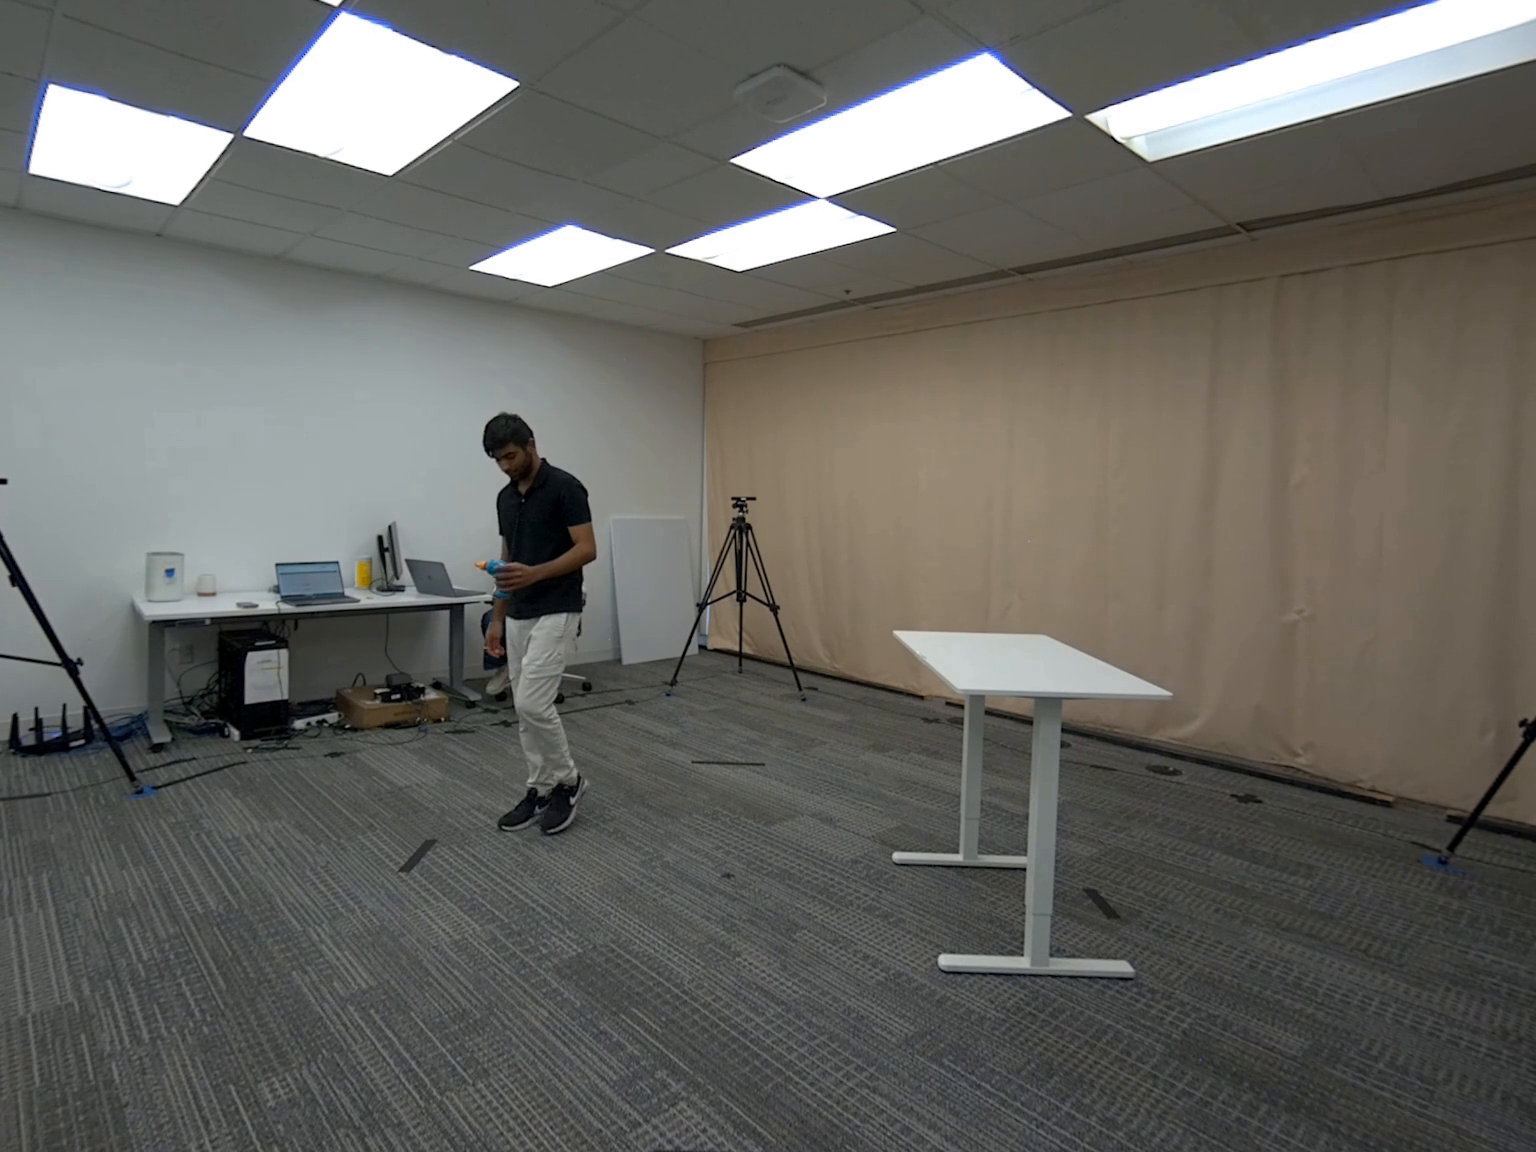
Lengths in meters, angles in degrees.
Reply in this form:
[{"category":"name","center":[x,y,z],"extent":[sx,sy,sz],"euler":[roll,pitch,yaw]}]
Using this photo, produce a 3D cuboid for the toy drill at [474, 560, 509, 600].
[{"category":"toy drill","center":[-1.065,0.005,3.244],"extent":[0.171,0.144,0.061],"euler":[8,22,7]}]
